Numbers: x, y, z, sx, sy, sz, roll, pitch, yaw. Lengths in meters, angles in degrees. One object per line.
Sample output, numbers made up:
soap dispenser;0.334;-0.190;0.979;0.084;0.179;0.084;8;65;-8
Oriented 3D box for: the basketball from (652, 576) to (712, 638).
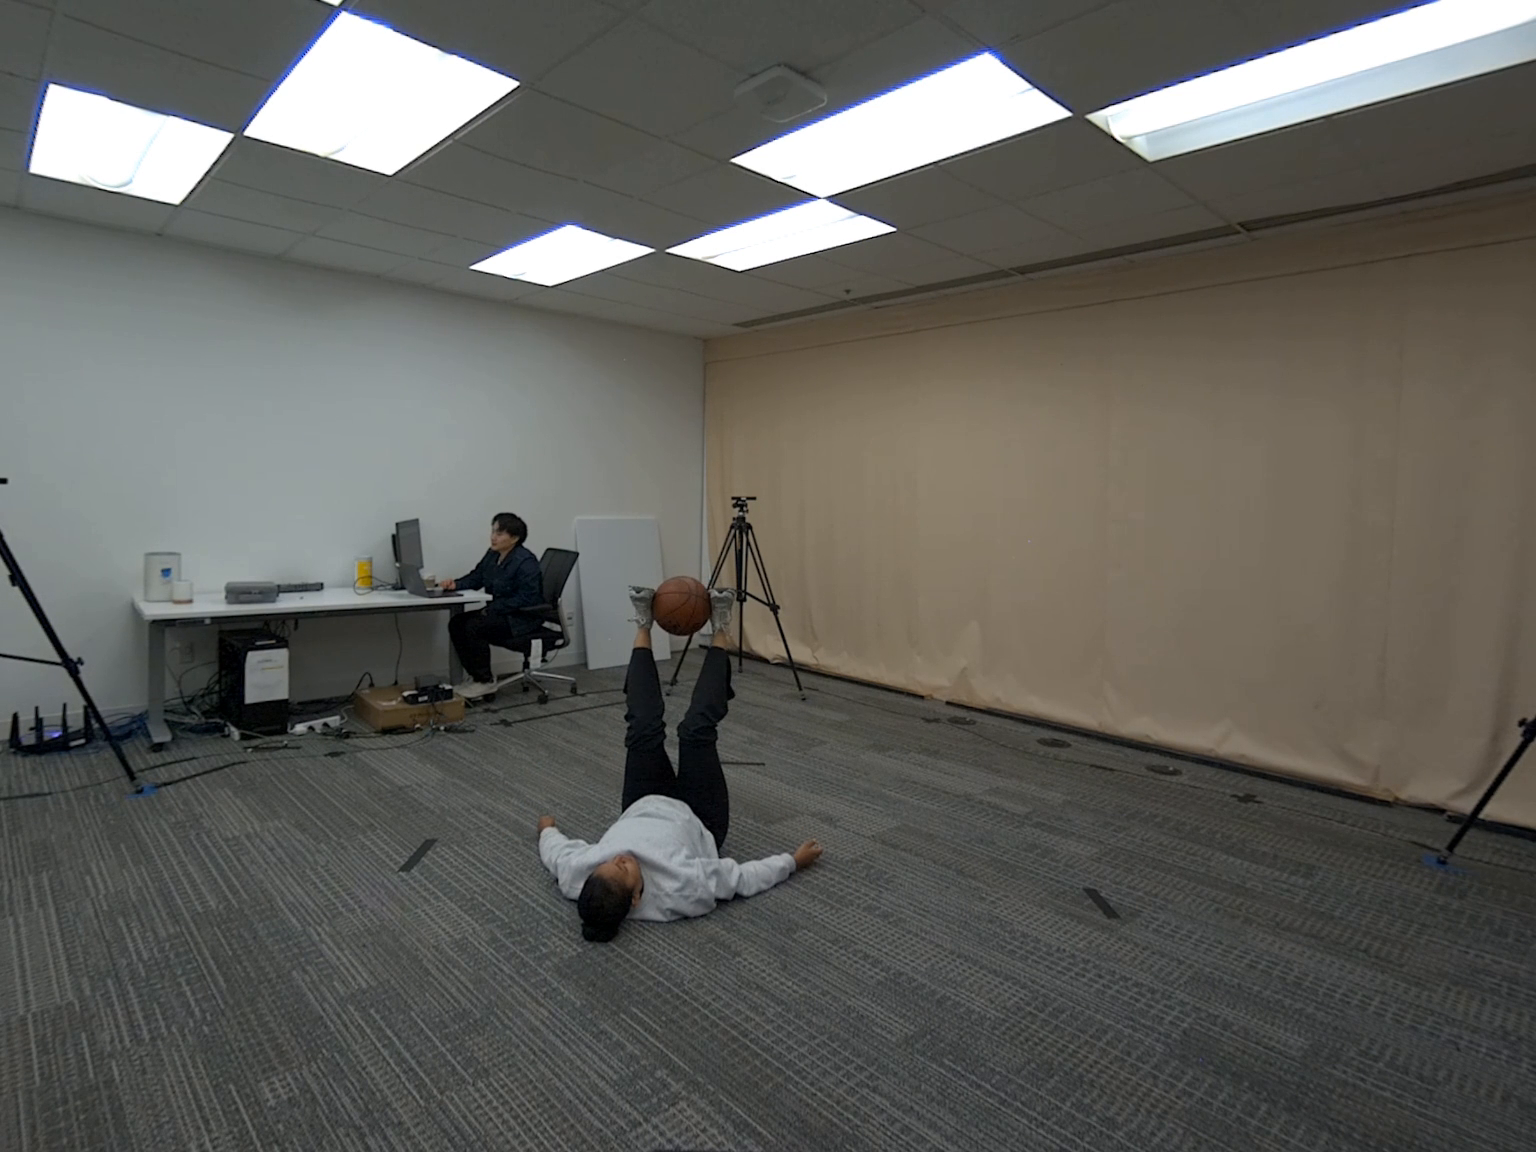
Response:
basketball;-0.352;0.123;3.353;0.235;0.235;0.237;4;7;-2
